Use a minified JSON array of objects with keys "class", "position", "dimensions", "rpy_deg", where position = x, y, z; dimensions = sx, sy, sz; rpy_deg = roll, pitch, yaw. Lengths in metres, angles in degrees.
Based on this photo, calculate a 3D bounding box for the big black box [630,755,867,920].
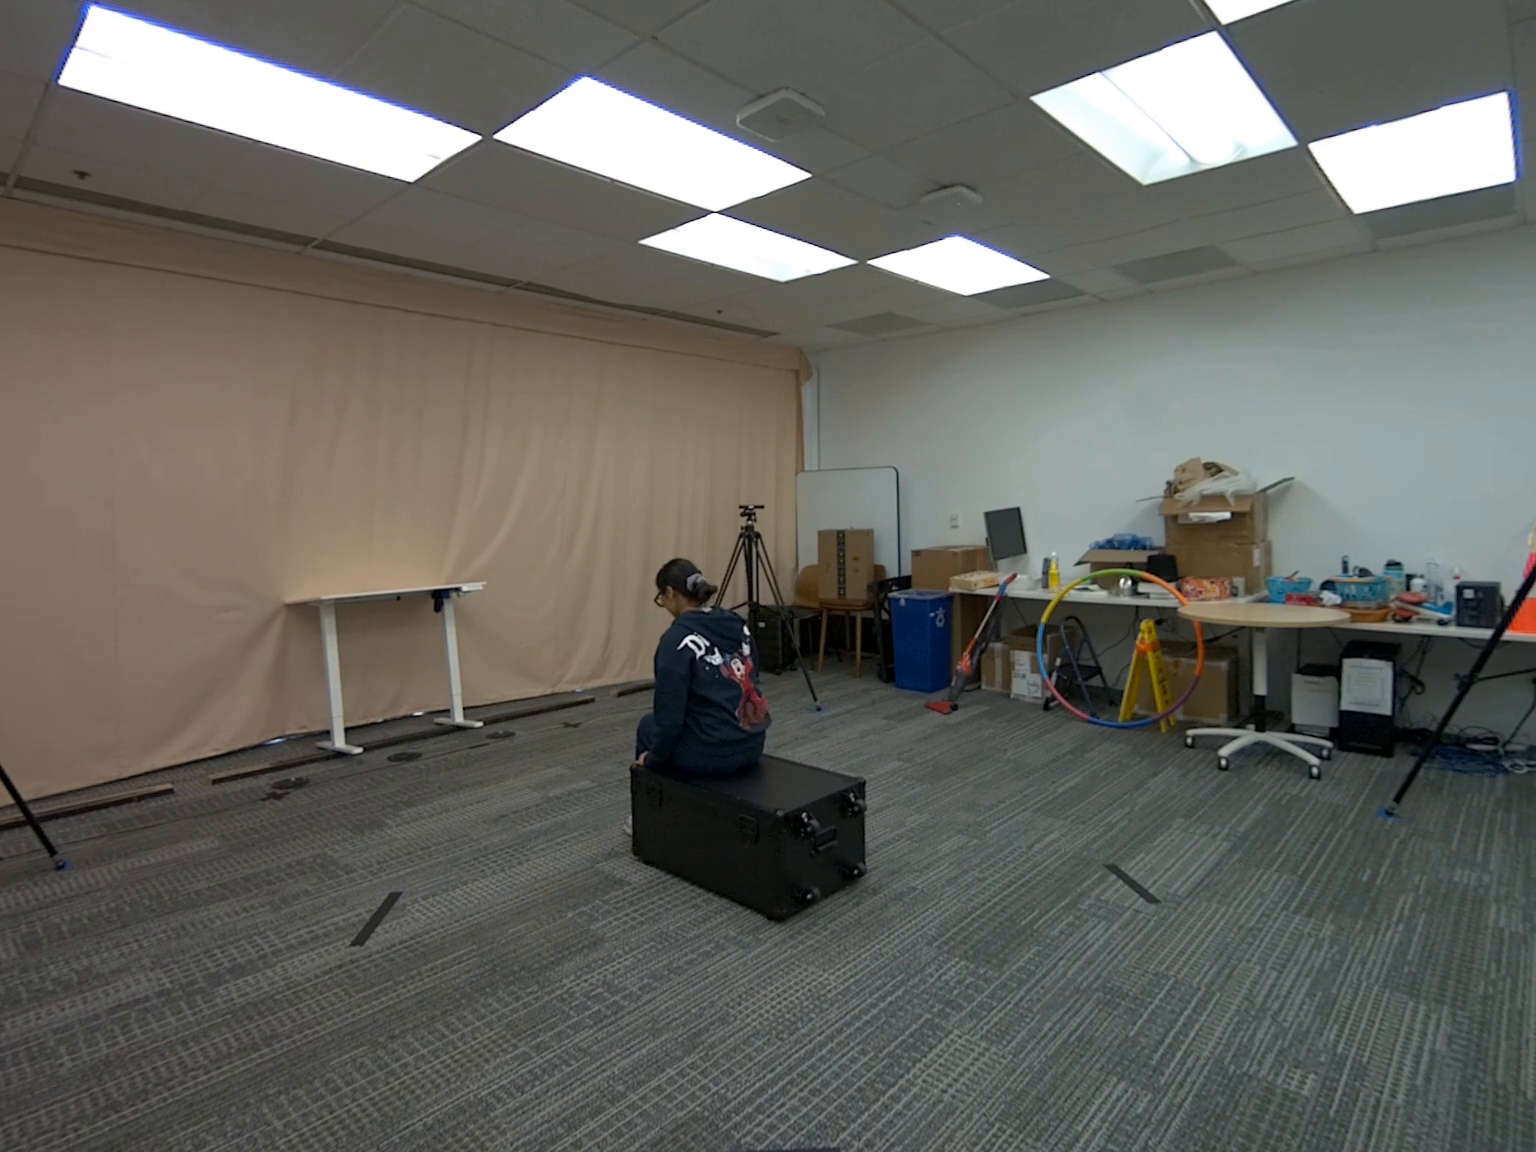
[{"class":"big black box","position":[-0.062,0.938,3.184],"dimensions":[0.890,0.395,0.505],"rpy_deg":[2,5,43]}]
